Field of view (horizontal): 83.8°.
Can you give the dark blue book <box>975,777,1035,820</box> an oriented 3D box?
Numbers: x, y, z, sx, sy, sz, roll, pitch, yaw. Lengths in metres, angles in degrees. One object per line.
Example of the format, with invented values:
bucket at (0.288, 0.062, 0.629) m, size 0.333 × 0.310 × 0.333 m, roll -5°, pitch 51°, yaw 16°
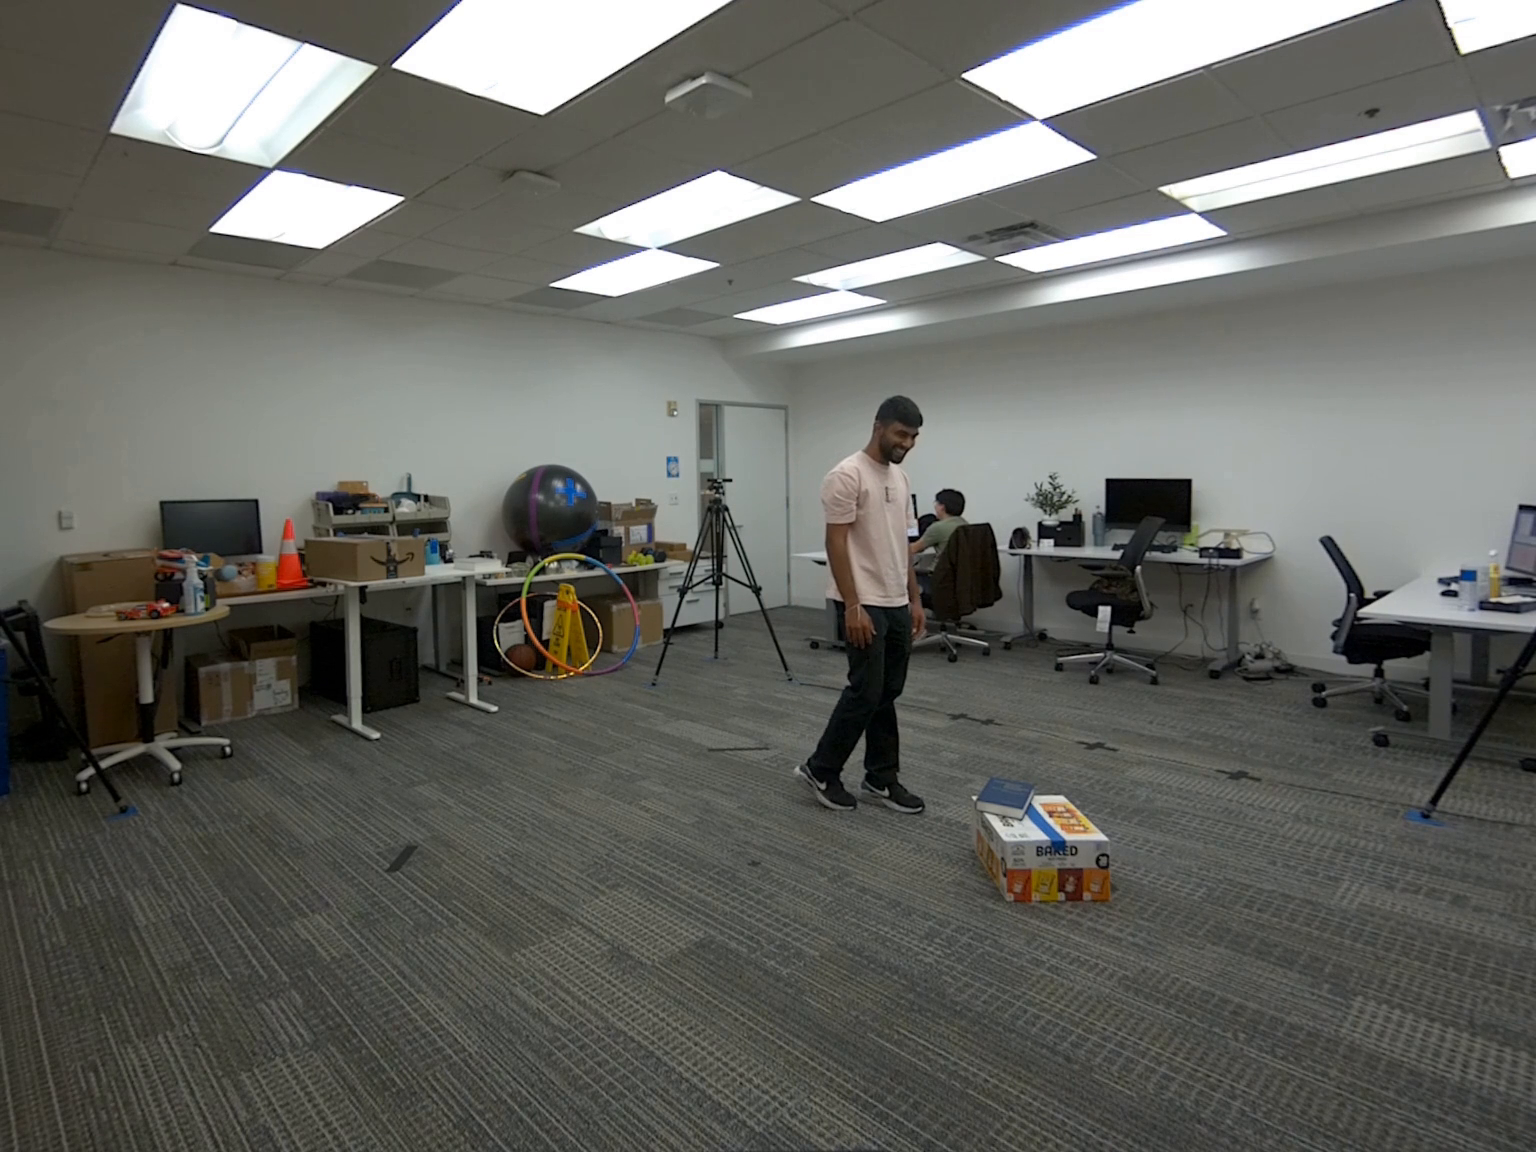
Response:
dark blue book at (0.870, 0.806, 3.110) m, size 0.167 × 0.045 × 0.240 m, roll 5°, pitch 9°, yaw 26°
